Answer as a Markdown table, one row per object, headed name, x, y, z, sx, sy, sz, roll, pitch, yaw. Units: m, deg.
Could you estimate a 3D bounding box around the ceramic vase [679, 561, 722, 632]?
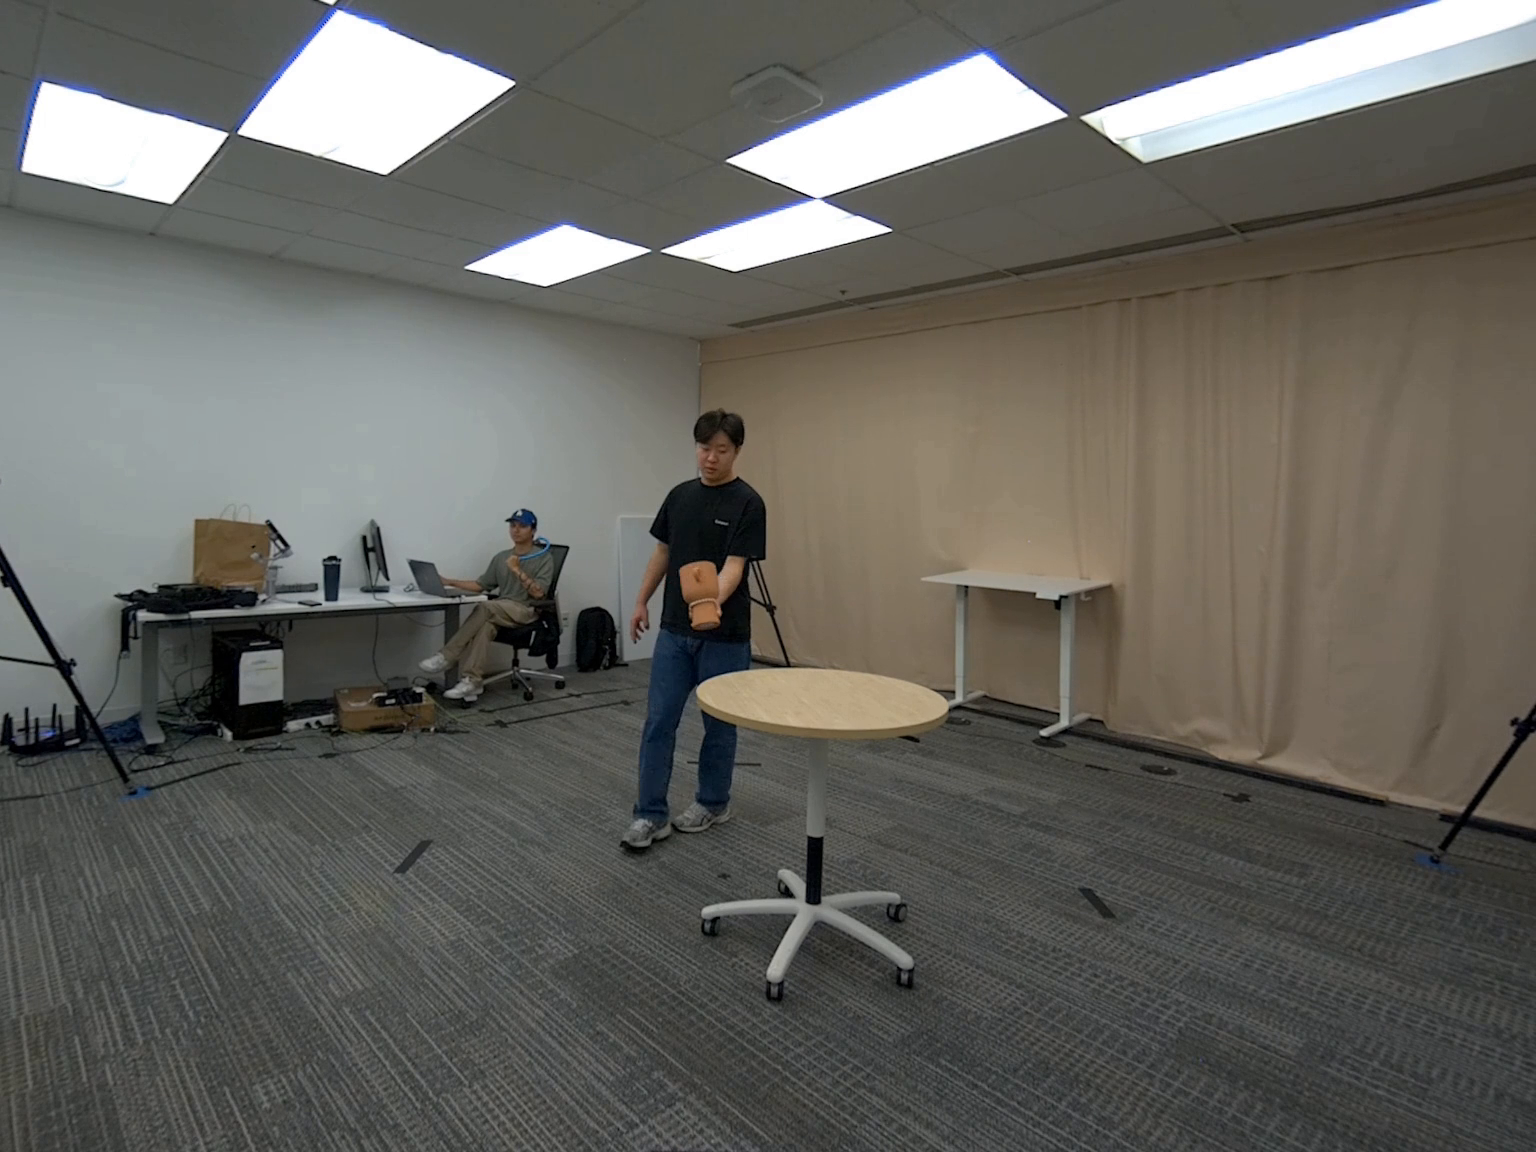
| name | x | y | z | sx | sy | sz | roll | pitch | yaw |
| --- | --- | --- | --- | --- | --- | --- | --- | --- | --- |
| ceramic vase | -0.262 | 0.075 | 3.010 | 0.136 | 0.223 | 0.154 | -24 | -22 | 35 |
